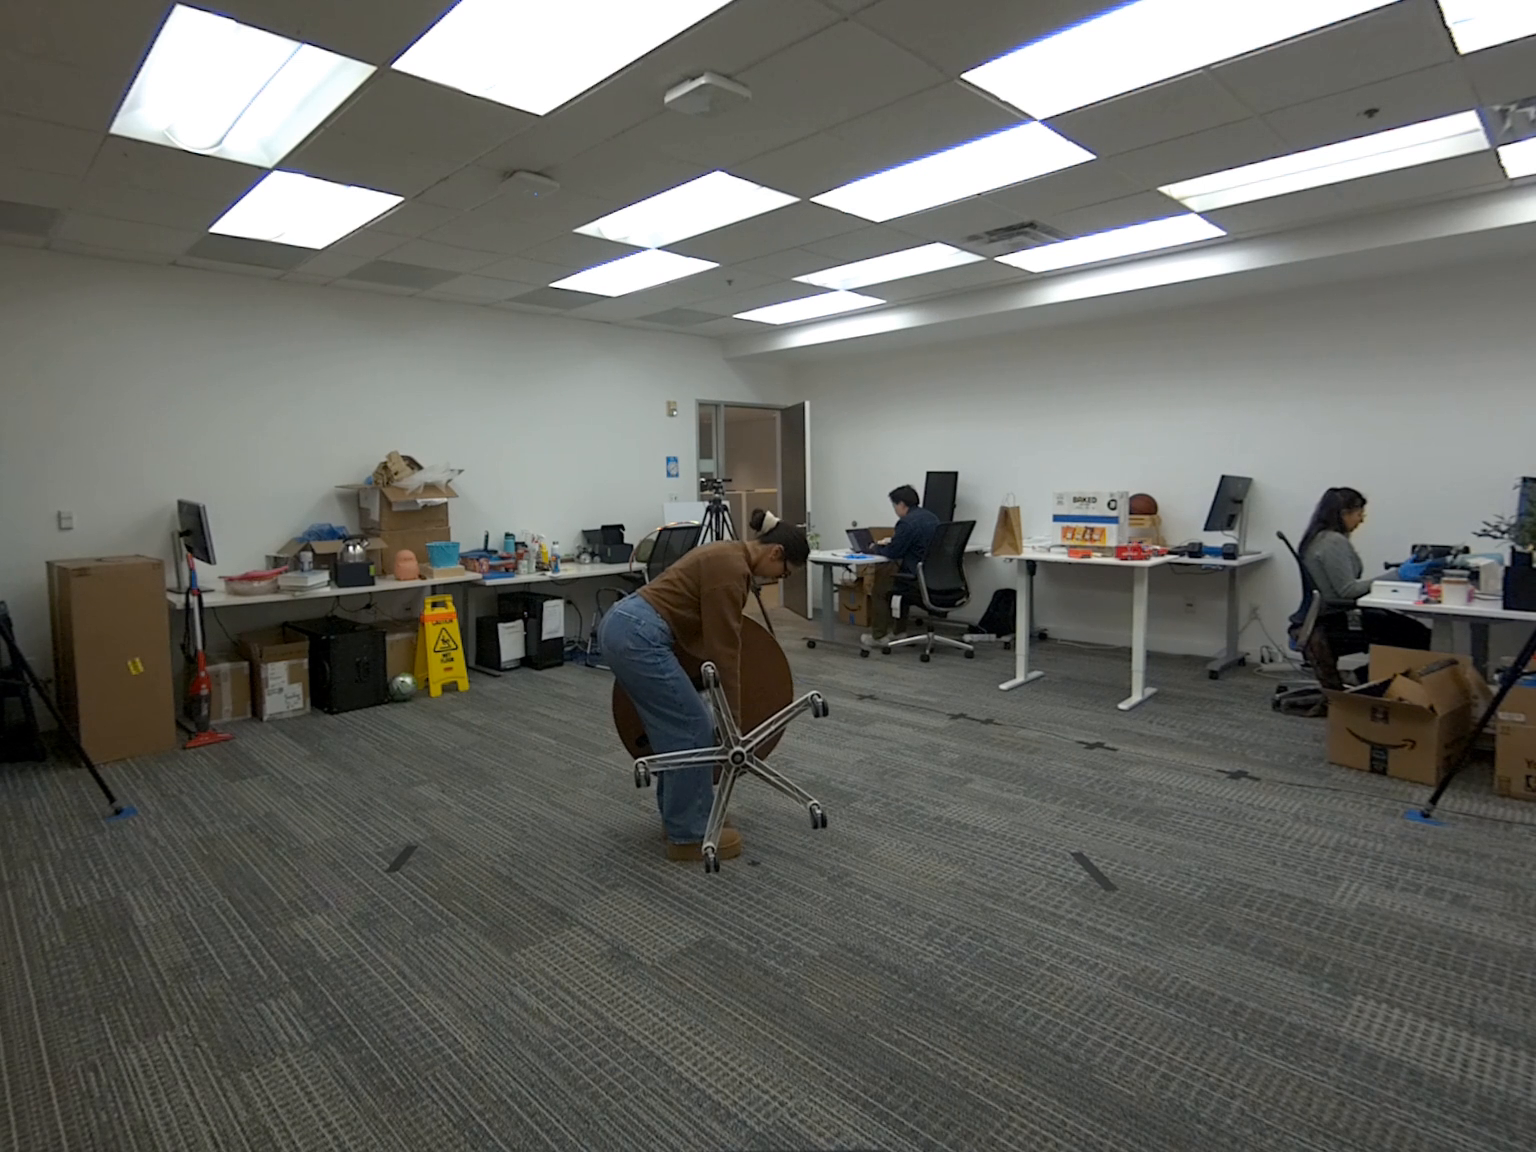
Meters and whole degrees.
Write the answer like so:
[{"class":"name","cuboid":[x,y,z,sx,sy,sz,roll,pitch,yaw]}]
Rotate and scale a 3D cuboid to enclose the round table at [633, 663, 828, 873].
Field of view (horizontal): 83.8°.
[{"class":"round table","cuboid":[-0.175,0.574,3.176,0.756,0.758,0.809,-2,9,-12]}]
